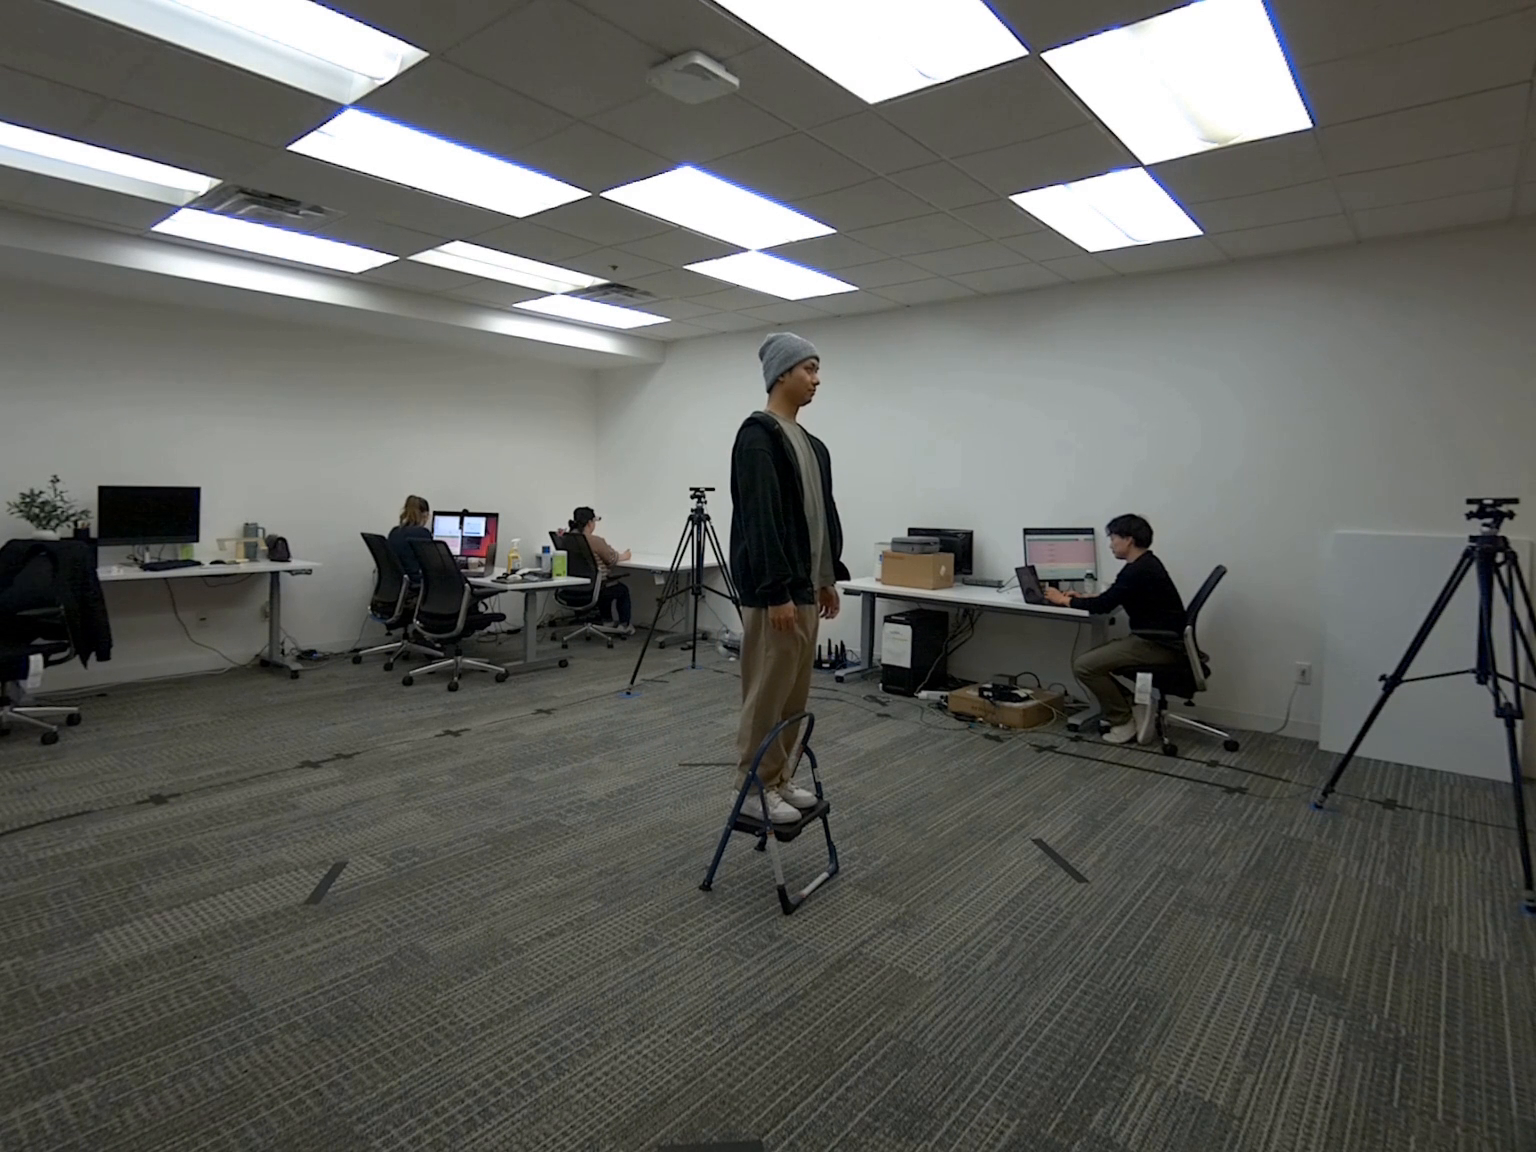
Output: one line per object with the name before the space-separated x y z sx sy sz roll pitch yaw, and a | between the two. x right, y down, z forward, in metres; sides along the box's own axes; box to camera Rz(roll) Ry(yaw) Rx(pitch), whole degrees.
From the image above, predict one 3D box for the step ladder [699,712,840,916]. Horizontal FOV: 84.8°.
step ladder | 0.015 0.777 3.015 0.359 0.604 0.419 4 4 29
